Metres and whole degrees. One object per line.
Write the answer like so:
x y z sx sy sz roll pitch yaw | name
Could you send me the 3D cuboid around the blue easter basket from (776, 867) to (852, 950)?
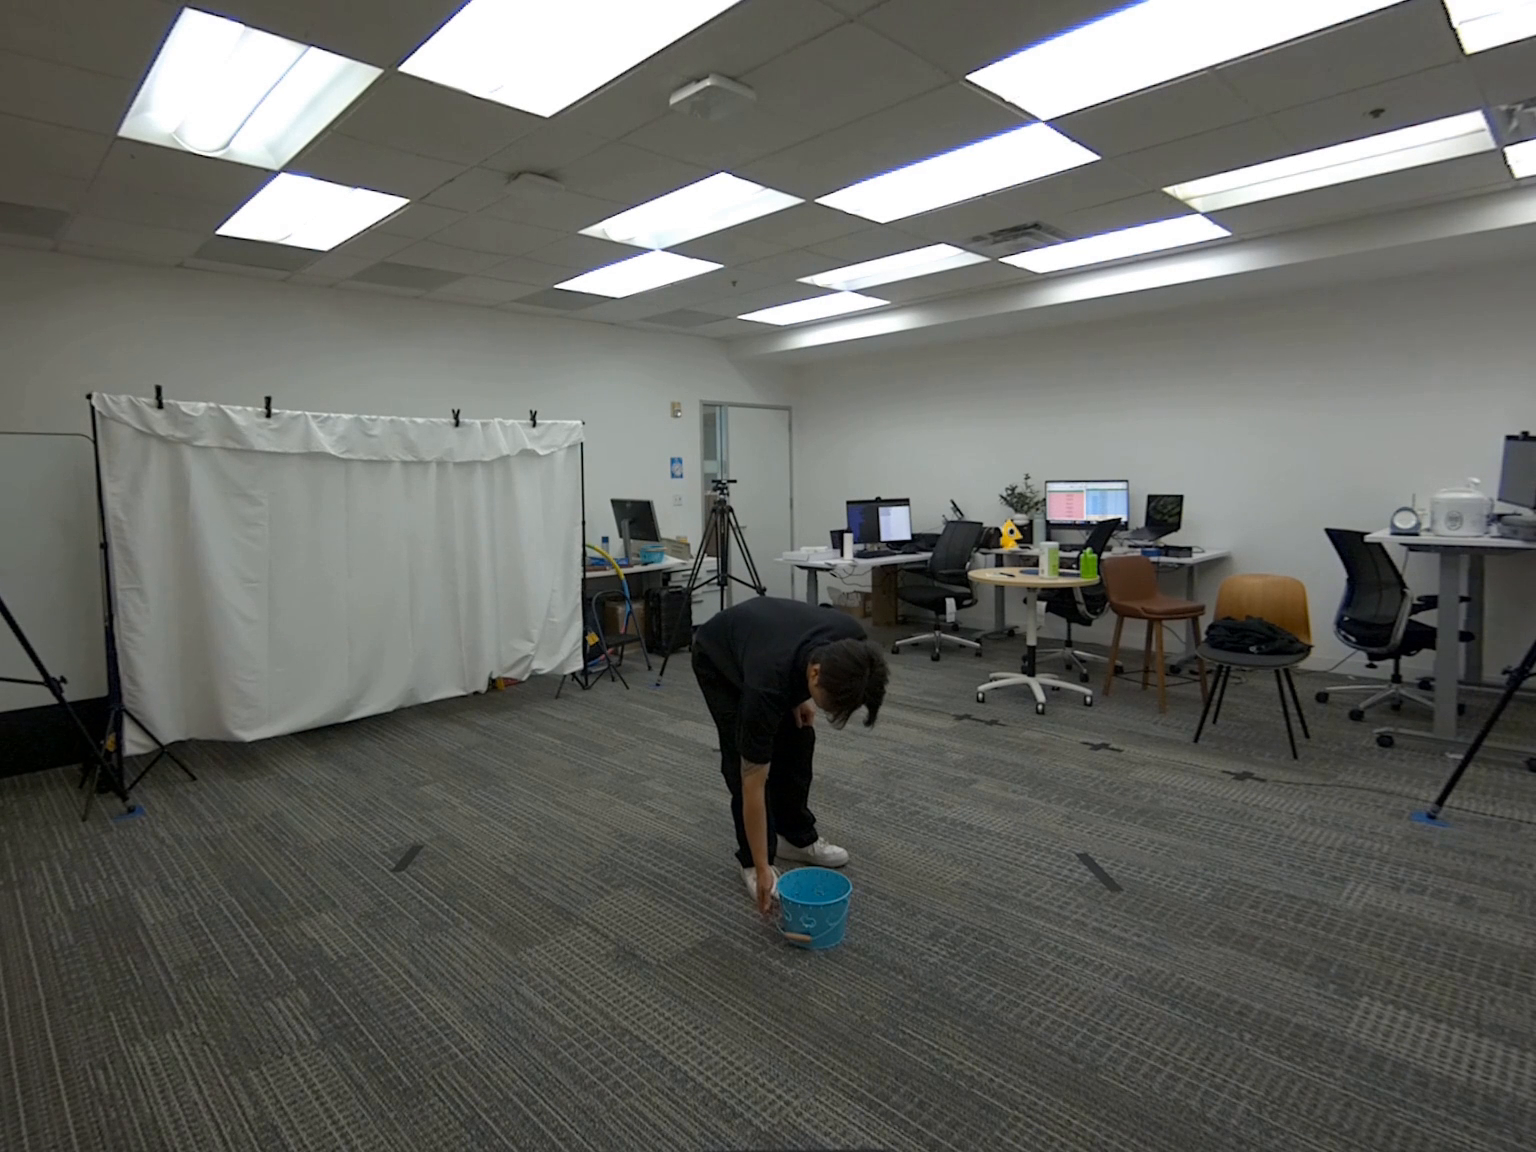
0.138 1.026 2.622 0.243 0.155 0.245 -1 6 -2 | blue easter basket
